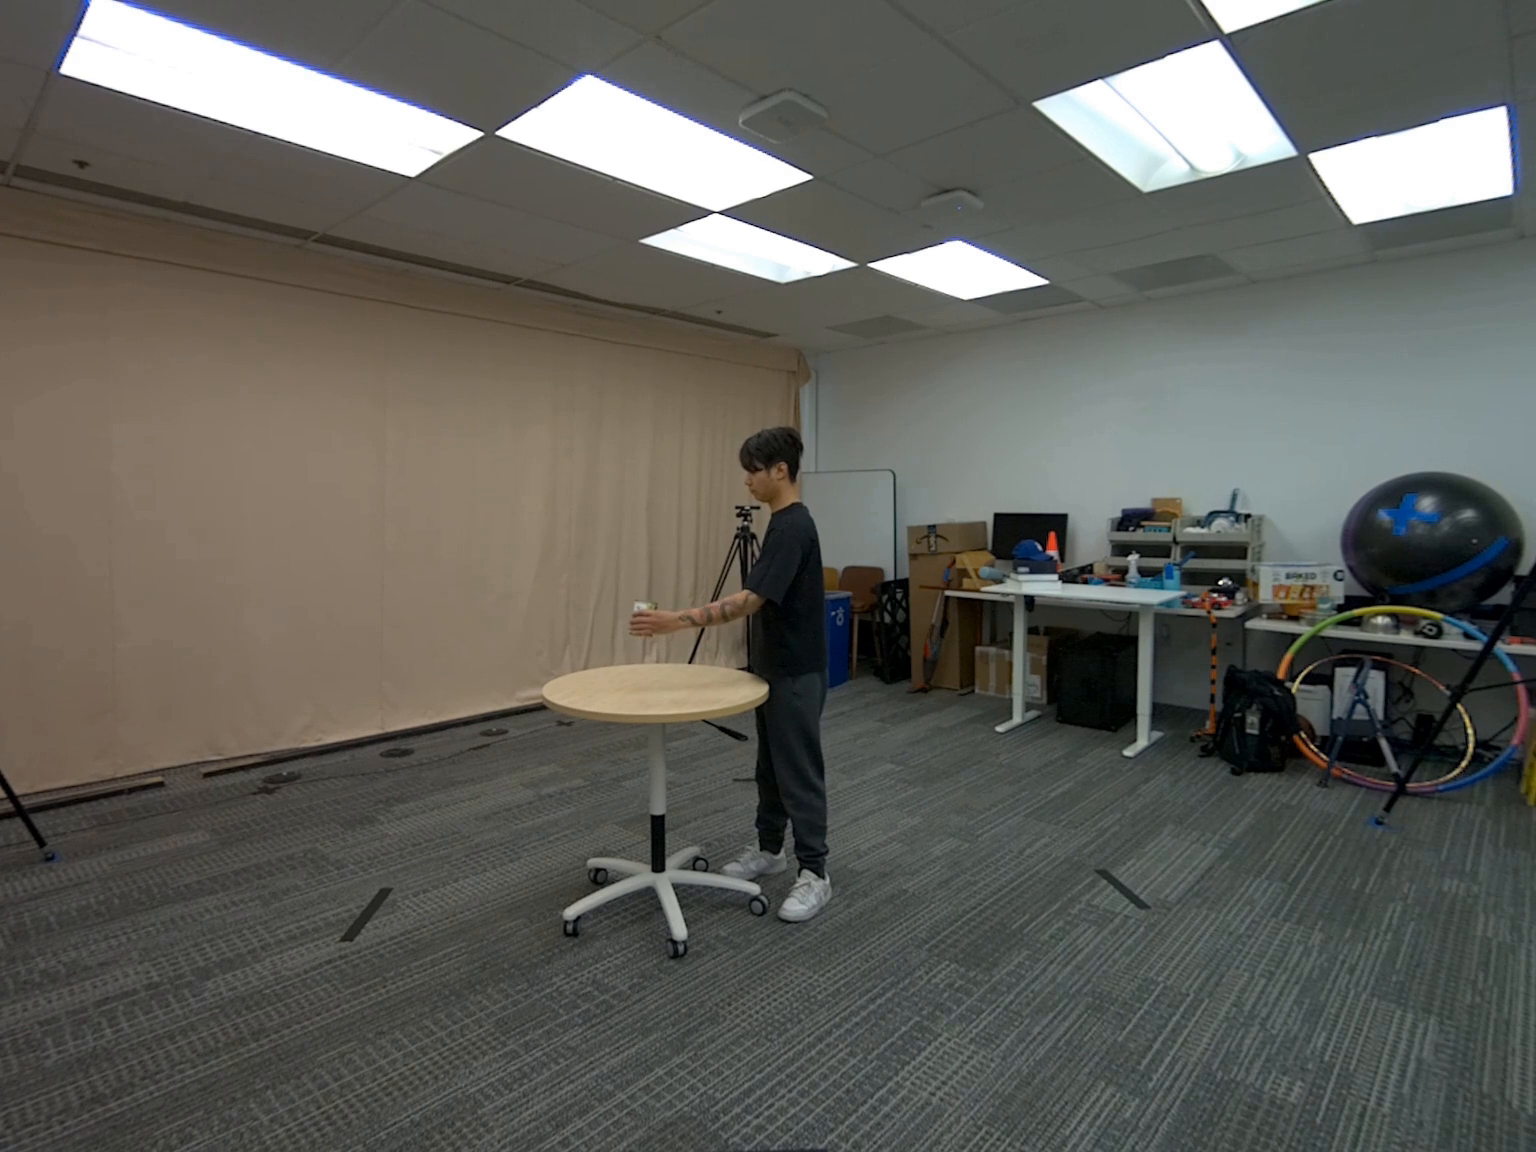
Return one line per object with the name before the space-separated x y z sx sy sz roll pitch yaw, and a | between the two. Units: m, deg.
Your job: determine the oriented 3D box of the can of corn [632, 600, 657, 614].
can of corn | -0.391 0.146 2.669 0.074 0.111 0.074 5 4 -2
